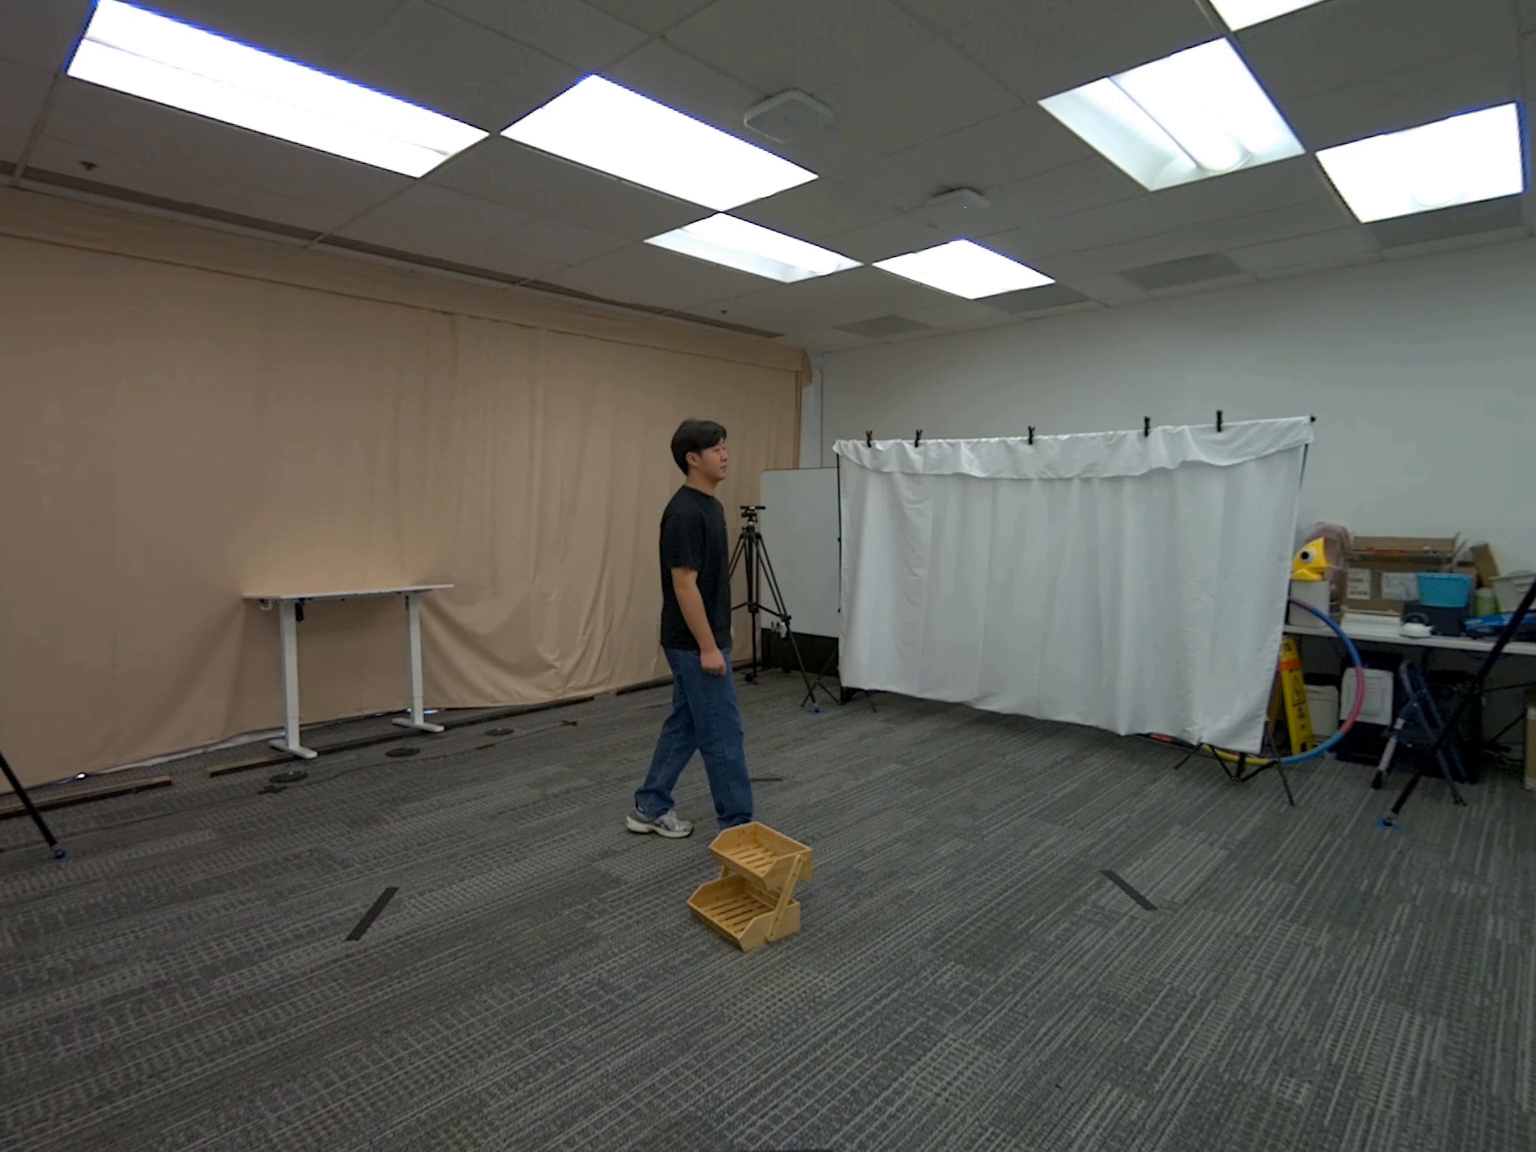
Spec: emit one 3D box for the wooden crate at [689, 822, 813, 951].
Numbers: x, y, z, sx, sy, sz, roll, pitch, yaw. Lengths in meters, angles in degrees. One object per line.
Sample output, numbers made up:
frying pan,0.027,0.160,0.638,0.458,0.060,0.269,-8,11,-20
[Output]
wooden crate,-0.061,1.023,2.817,0.293,0.273,0.335,-2,4,-37
